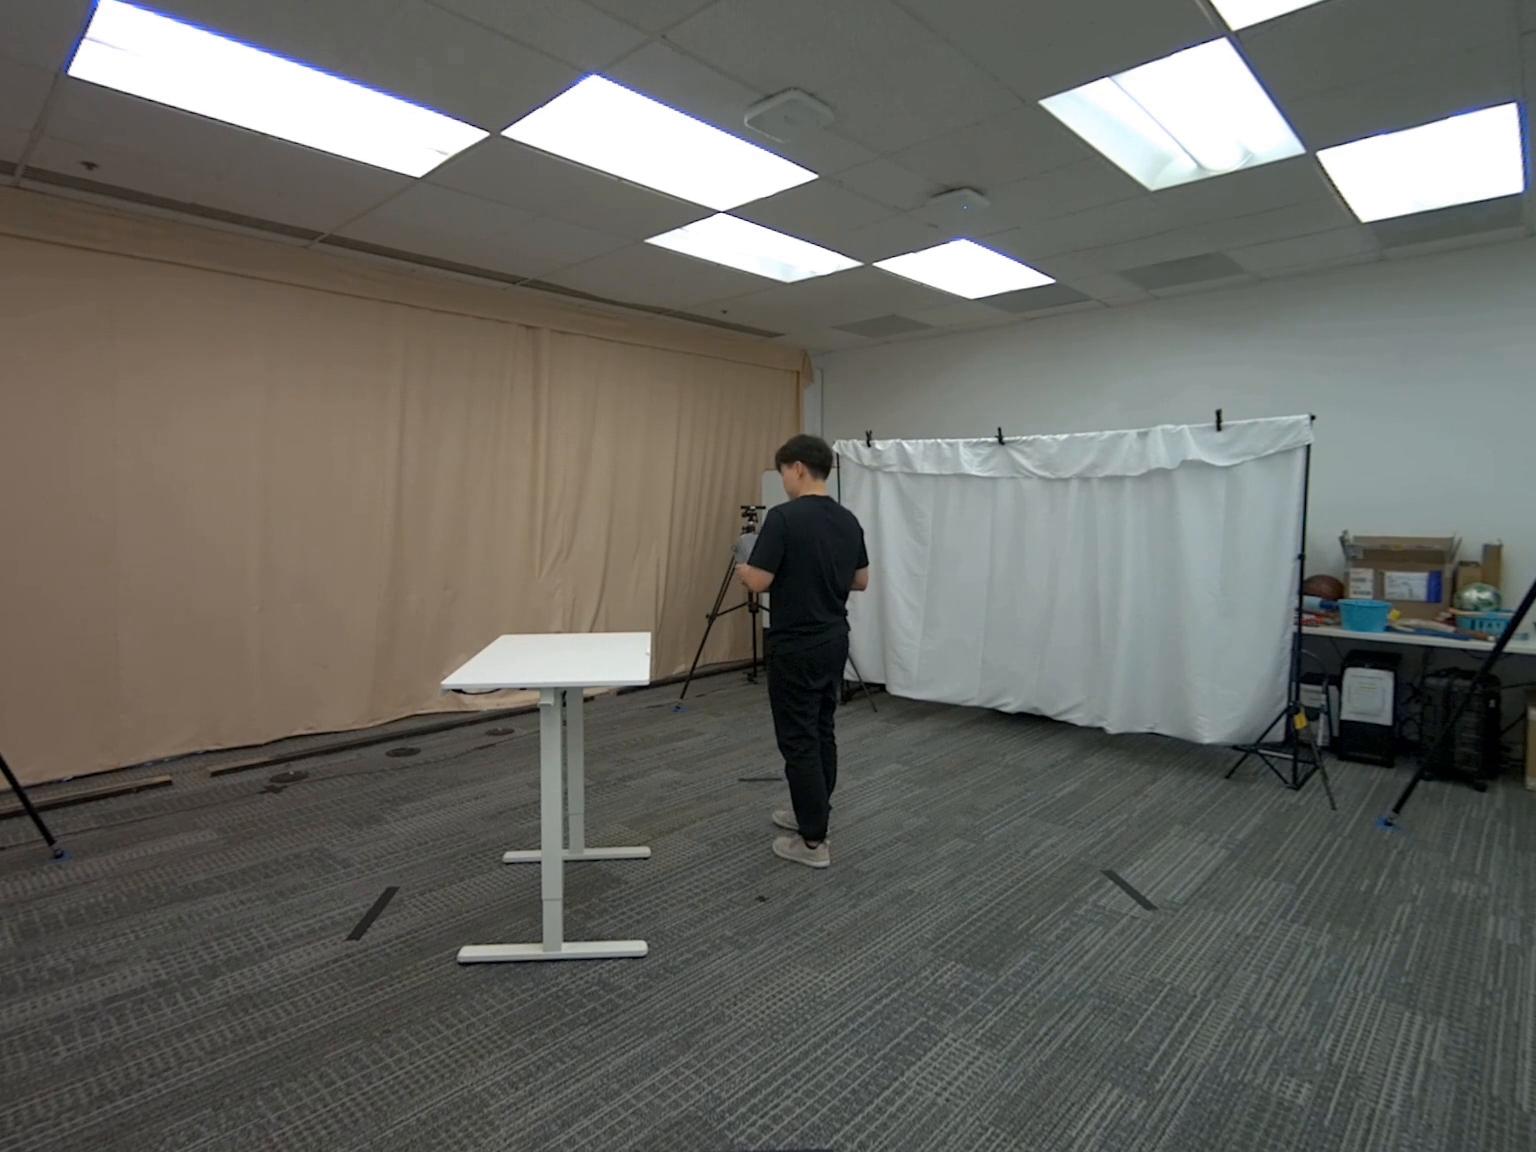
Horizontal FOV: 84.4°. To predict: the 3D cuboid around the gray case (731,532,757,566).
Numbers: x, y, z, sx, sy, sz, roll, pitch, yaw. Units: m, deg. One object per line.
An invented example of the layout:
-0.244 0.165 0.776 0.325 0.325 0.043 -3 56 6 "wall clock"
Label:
-0.001 -0.052 3.603 0.248 0.267 0.105 6 -39 -40 "gray case"
